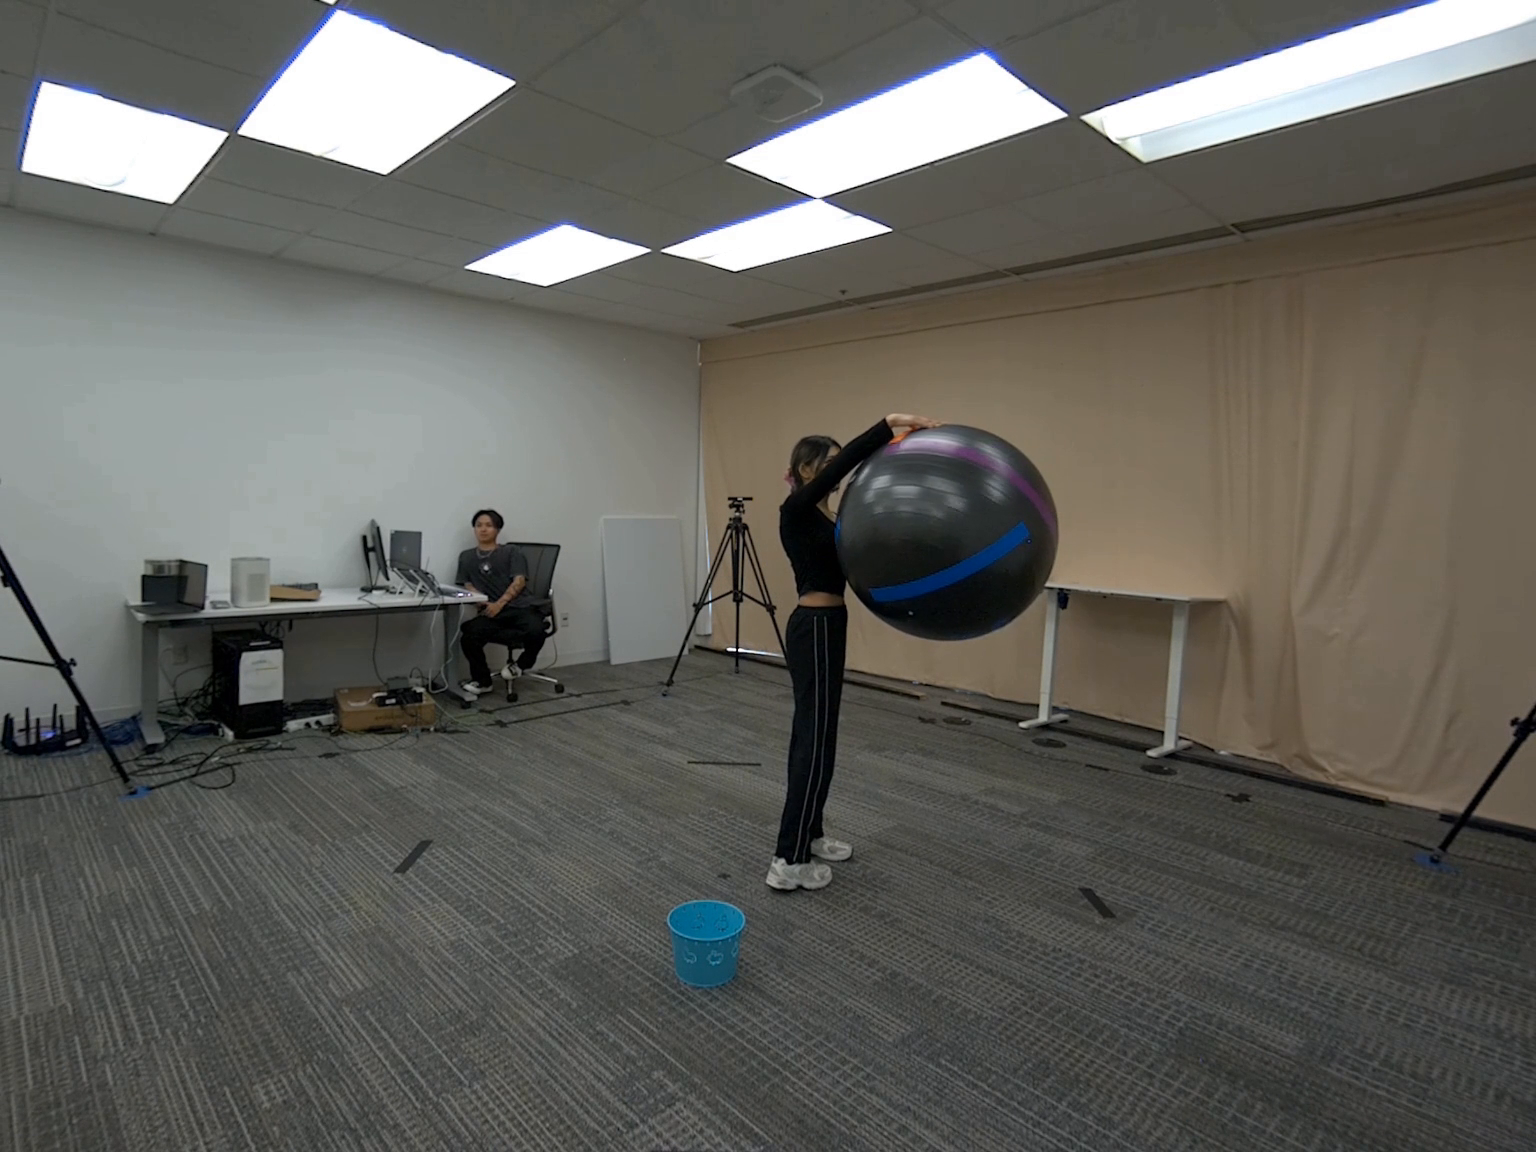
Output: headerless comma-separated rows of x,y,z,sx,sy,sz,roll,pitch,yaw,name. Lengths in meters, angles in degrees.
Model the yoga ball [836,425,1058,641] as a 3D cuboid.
0.622,-0.147,2.964,0.757,0.756,0.761,1,4,-1,yoga ball
